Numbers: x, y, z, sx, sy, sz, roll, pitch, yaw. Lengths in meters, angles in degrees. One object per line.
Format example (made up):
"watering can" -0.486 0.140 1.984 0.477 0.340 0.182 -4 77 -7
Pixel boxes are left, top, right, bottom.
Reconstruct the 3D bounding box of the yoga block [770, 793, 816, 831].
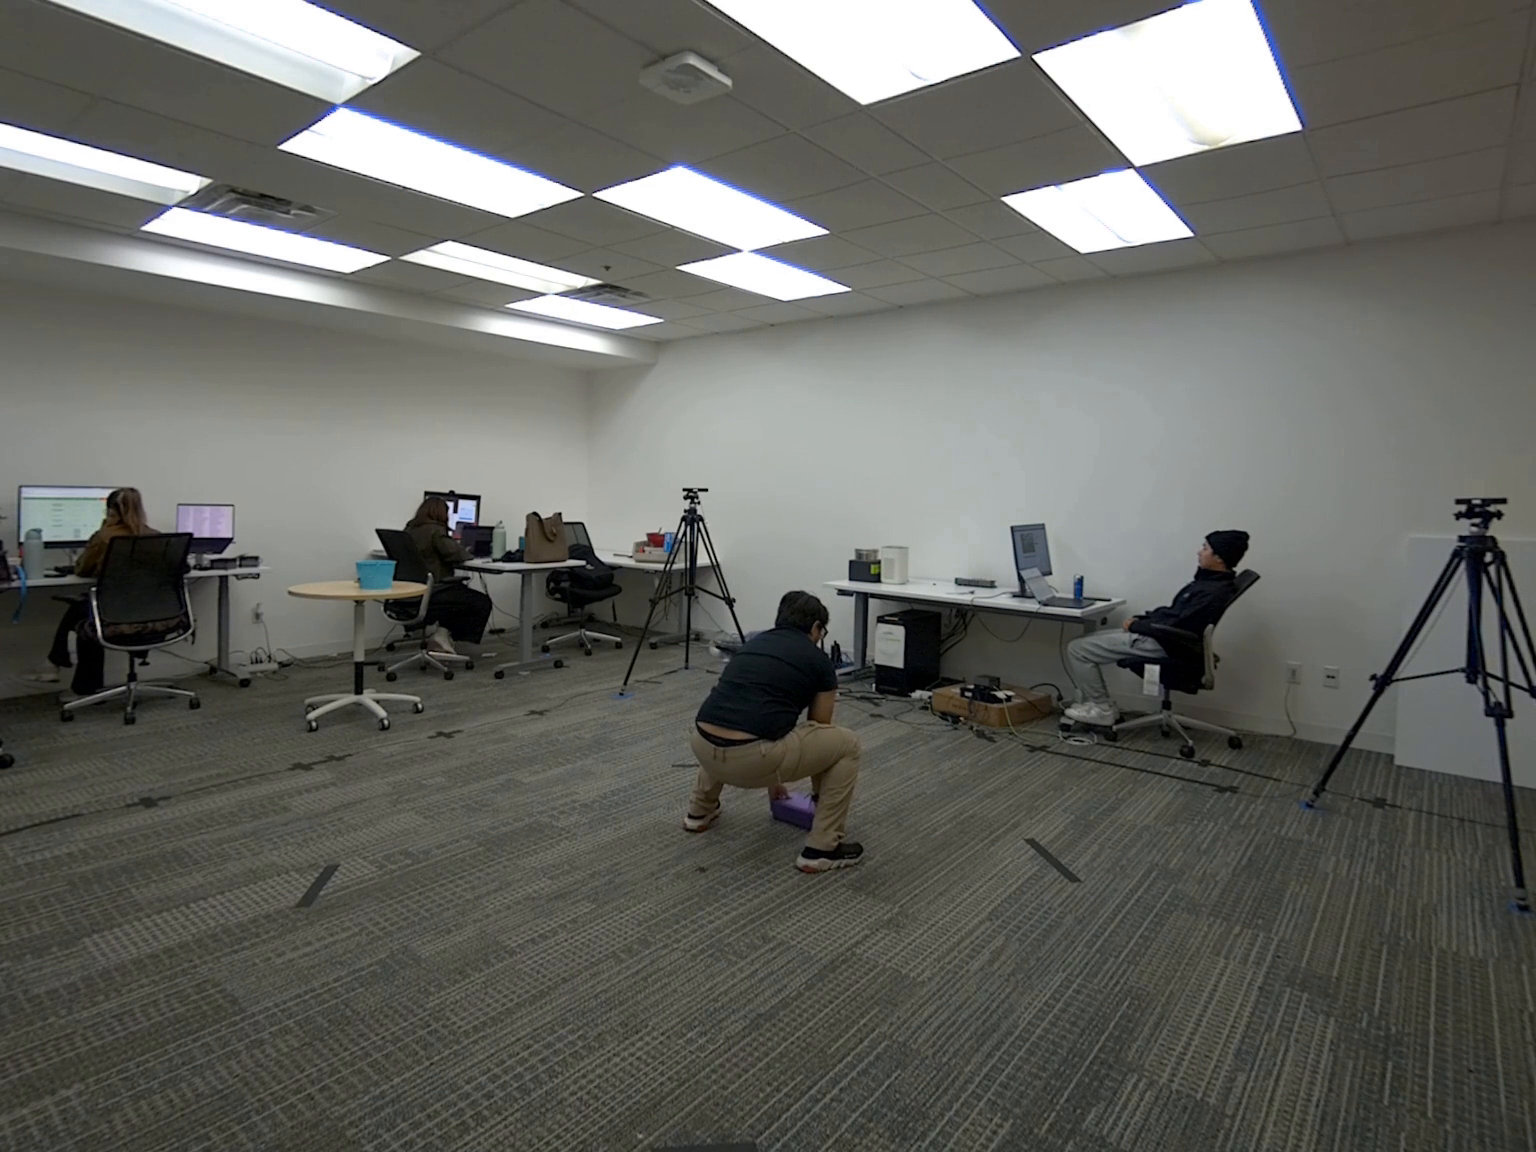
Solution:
"yoga block" 0.142 0.985 3.594 0.237 0.076 0.144 5 5 40
